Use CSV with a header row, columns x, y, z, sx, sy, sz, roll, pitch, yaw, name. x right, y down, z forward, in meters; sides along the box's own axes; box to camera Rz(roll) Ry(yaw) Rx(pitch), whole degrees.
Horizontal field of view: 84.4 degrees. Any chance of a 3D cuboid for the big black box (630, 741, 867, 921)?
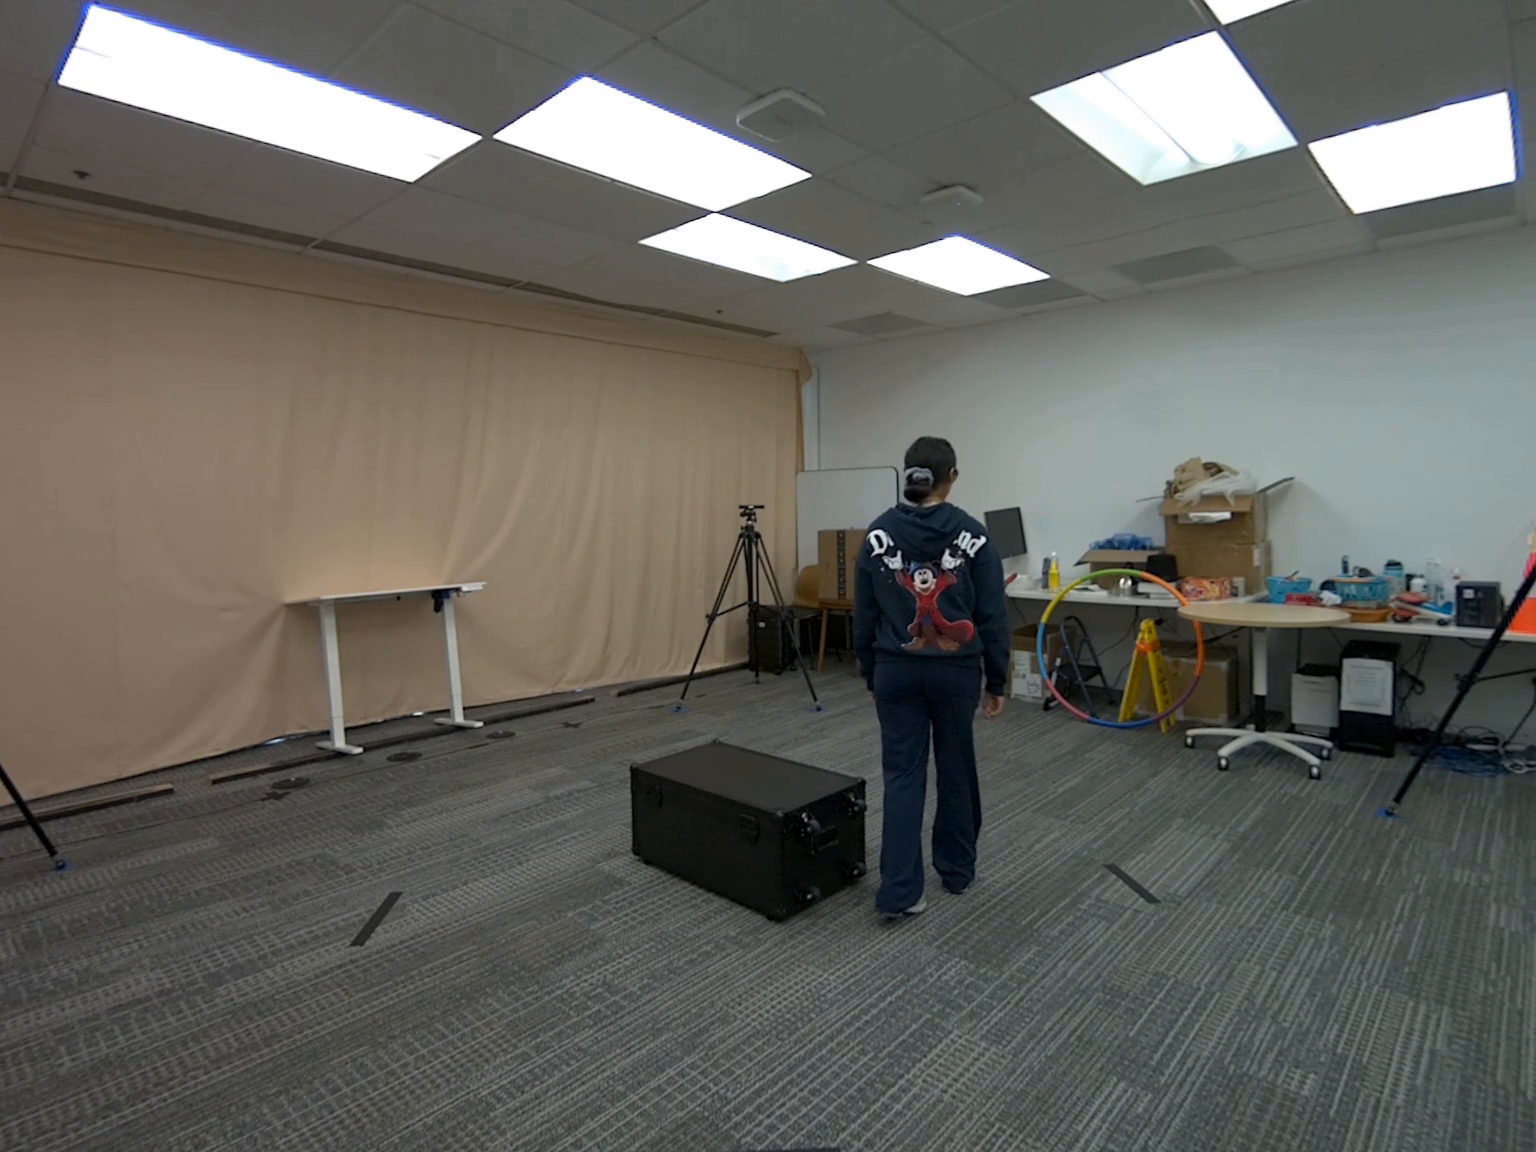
x,y,z,sx,sy,sz,roll,pitch,yaw,name
-0.066,0.935,3.189,0.890,0.395,0.505,3,6,43,big black box
